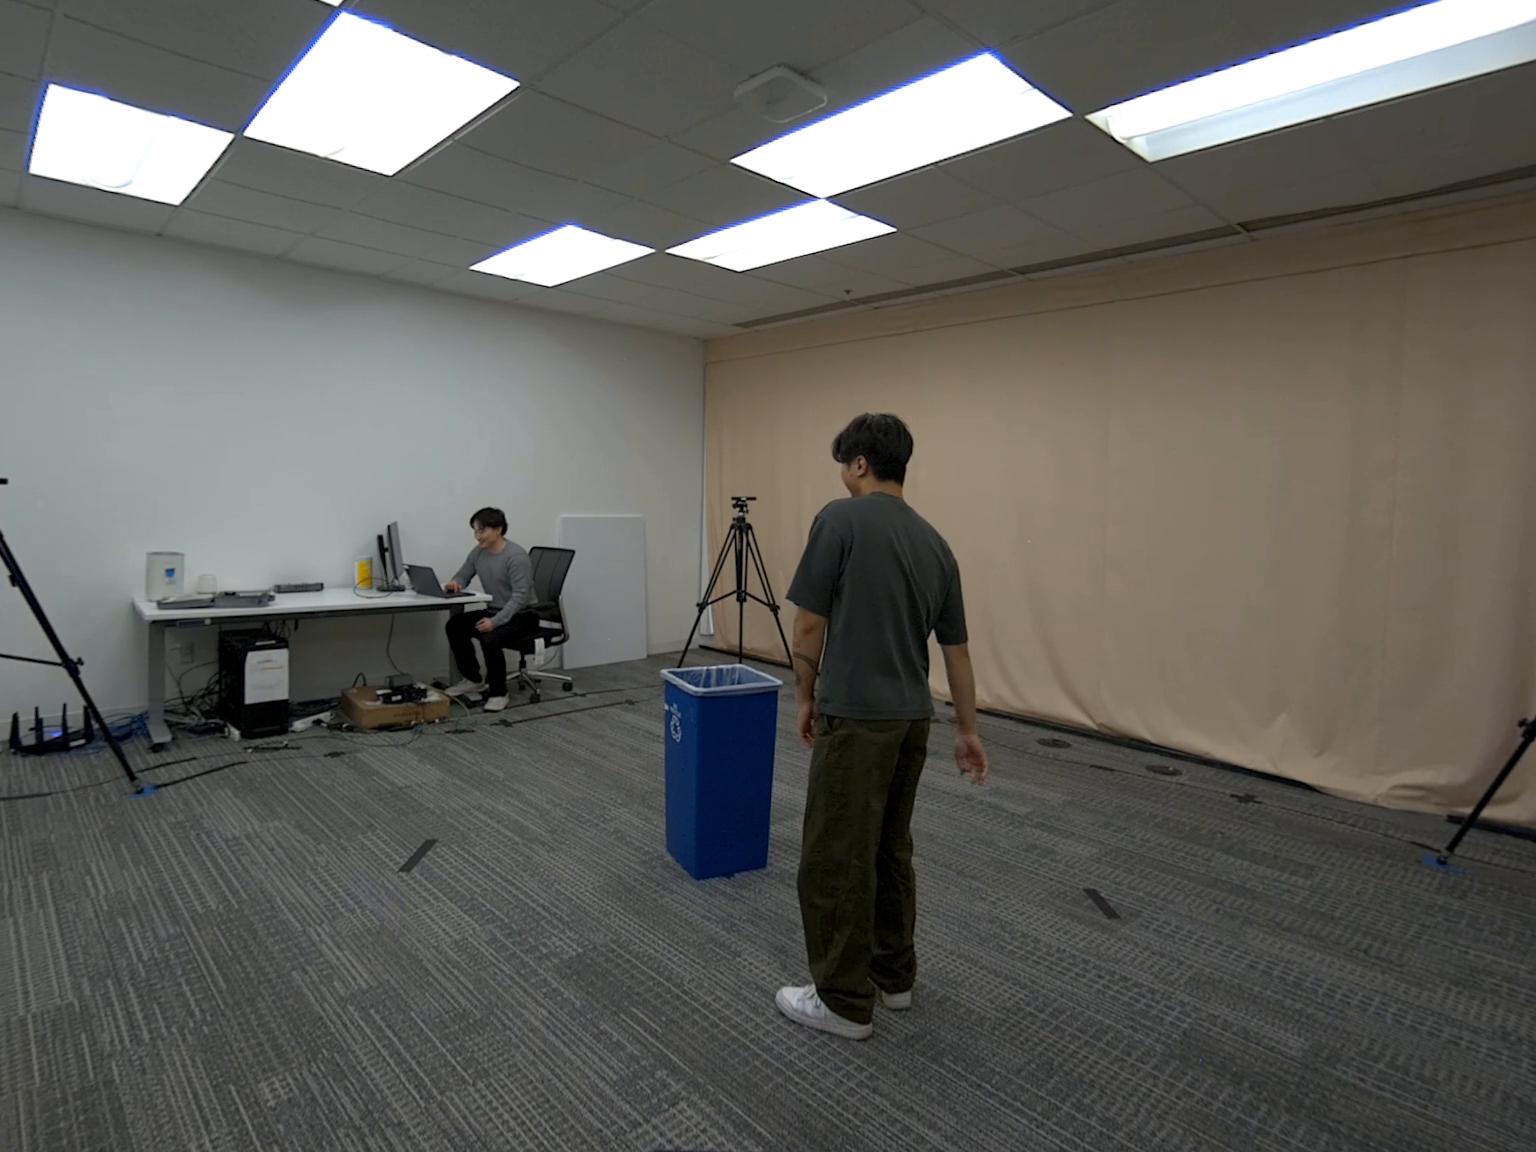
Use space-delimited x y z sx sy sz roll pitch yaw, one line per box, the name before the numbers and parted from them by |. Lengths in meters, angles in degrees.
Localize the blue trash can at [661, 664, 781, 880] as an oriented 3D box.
blue trash can | -0.192 0.736 3.229 0.371 0.712 0.382 -1 4 -28
